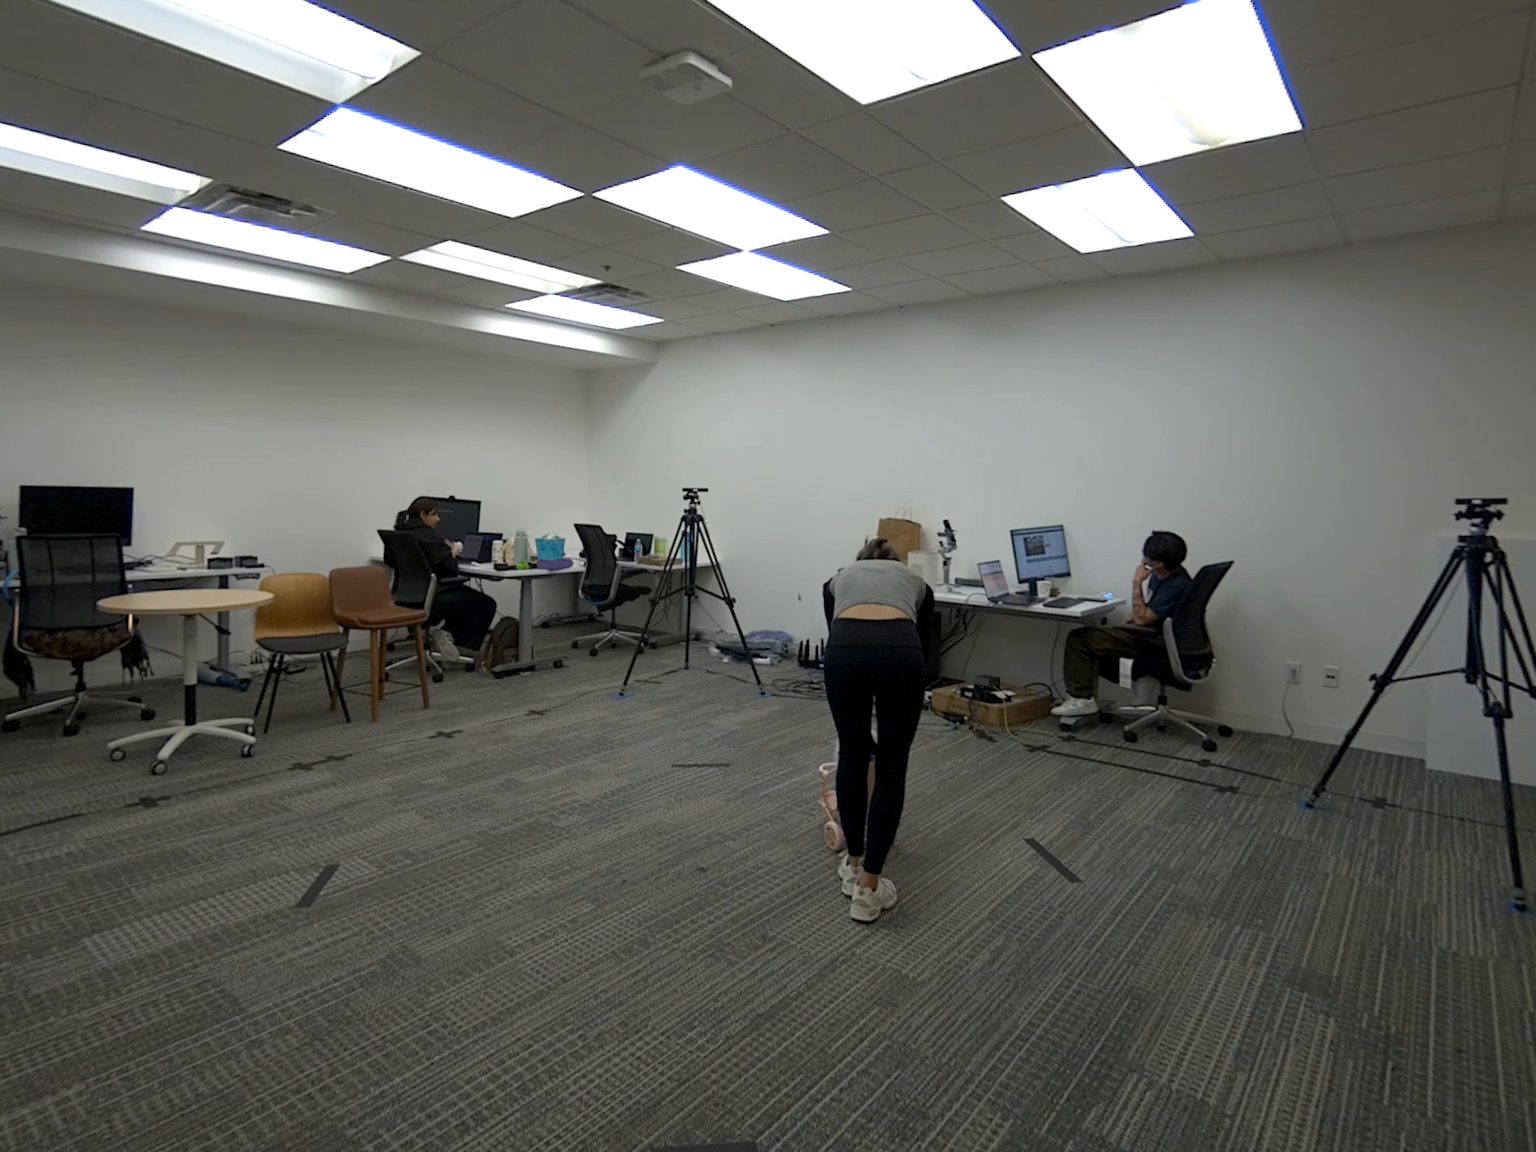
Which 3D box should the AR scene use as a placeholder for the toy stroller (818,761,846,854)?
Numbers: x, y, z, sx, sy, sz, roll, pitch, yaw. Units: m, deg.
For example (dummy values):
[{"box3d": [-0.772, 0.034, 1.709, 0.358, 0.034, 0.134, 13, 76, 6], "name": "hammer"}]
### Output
[{"box3d": [0.342, 0.825, 3.396, 0.276, 0.527, 0.353, 1, 20, -18], "name": "toy stroller"}]
